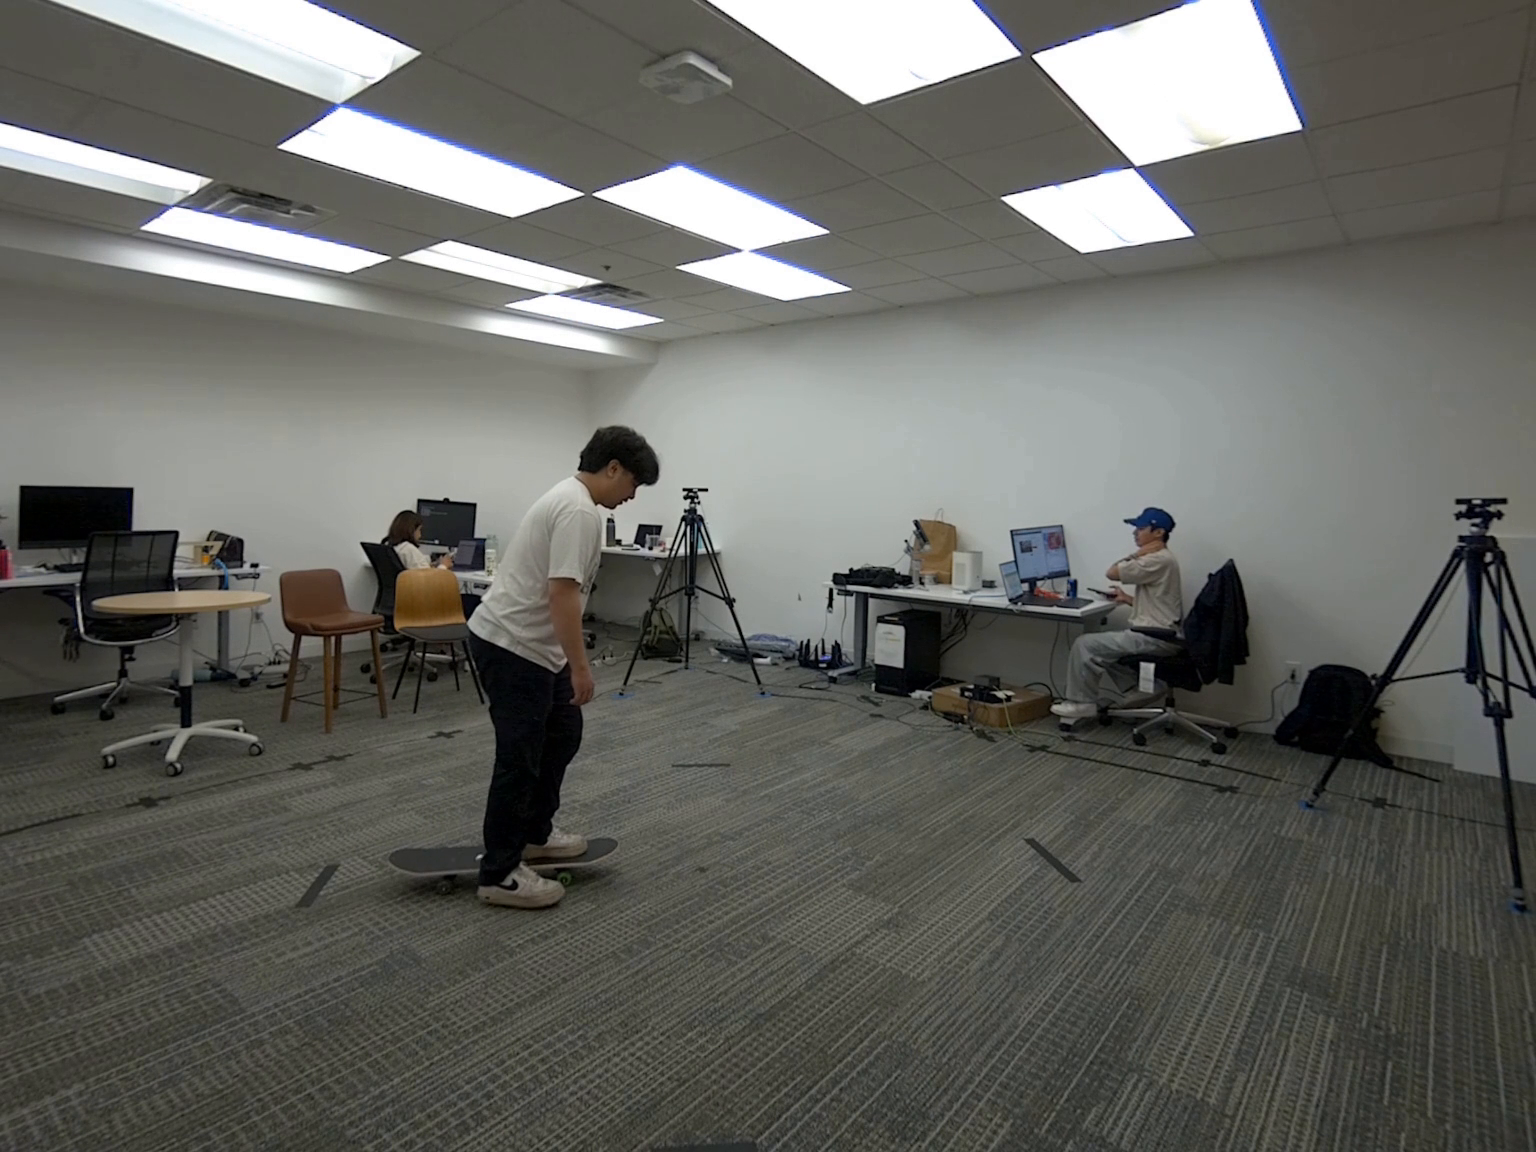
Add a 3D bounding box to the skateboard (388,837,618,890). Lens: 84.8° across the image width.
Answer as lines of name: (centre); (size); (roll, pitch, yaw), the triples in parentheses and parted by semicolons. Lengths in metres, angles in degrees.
skateboard: (-0.940, 1.015, 2.995); (0.776, 0.110, 0.197); (0, 6, -11)
